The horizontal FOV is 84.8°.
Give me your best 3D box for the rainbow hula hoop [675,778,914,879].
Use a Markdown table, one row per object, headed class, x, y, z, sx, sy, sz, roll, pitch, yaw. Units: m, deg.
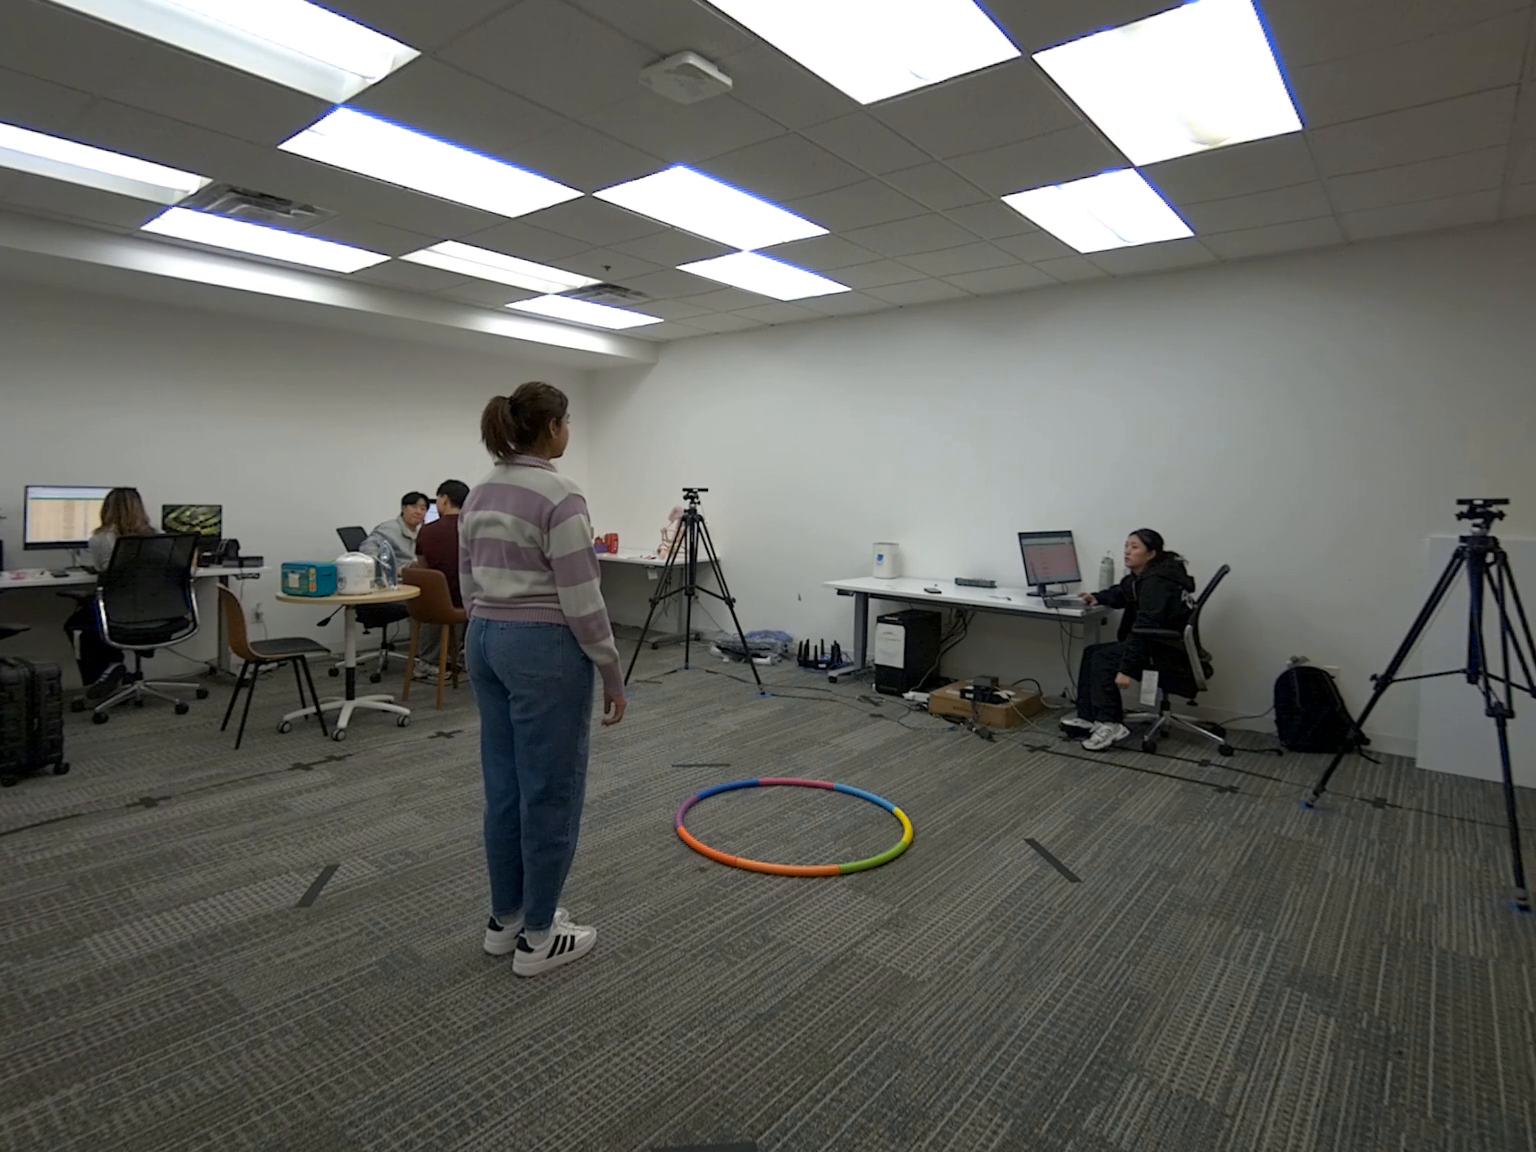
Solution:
| class | x | y | z | sx | sy | sz | roll | pitch | yaw |
| --- | --- | --- | --- | --- | --- | --- | --- | --- | --- |
| rainbow hula hoop | 0.093 | 1.004 | 3.544 | 0.978 | 0.035 | 0.984 | 1 | 6 | -2 |
